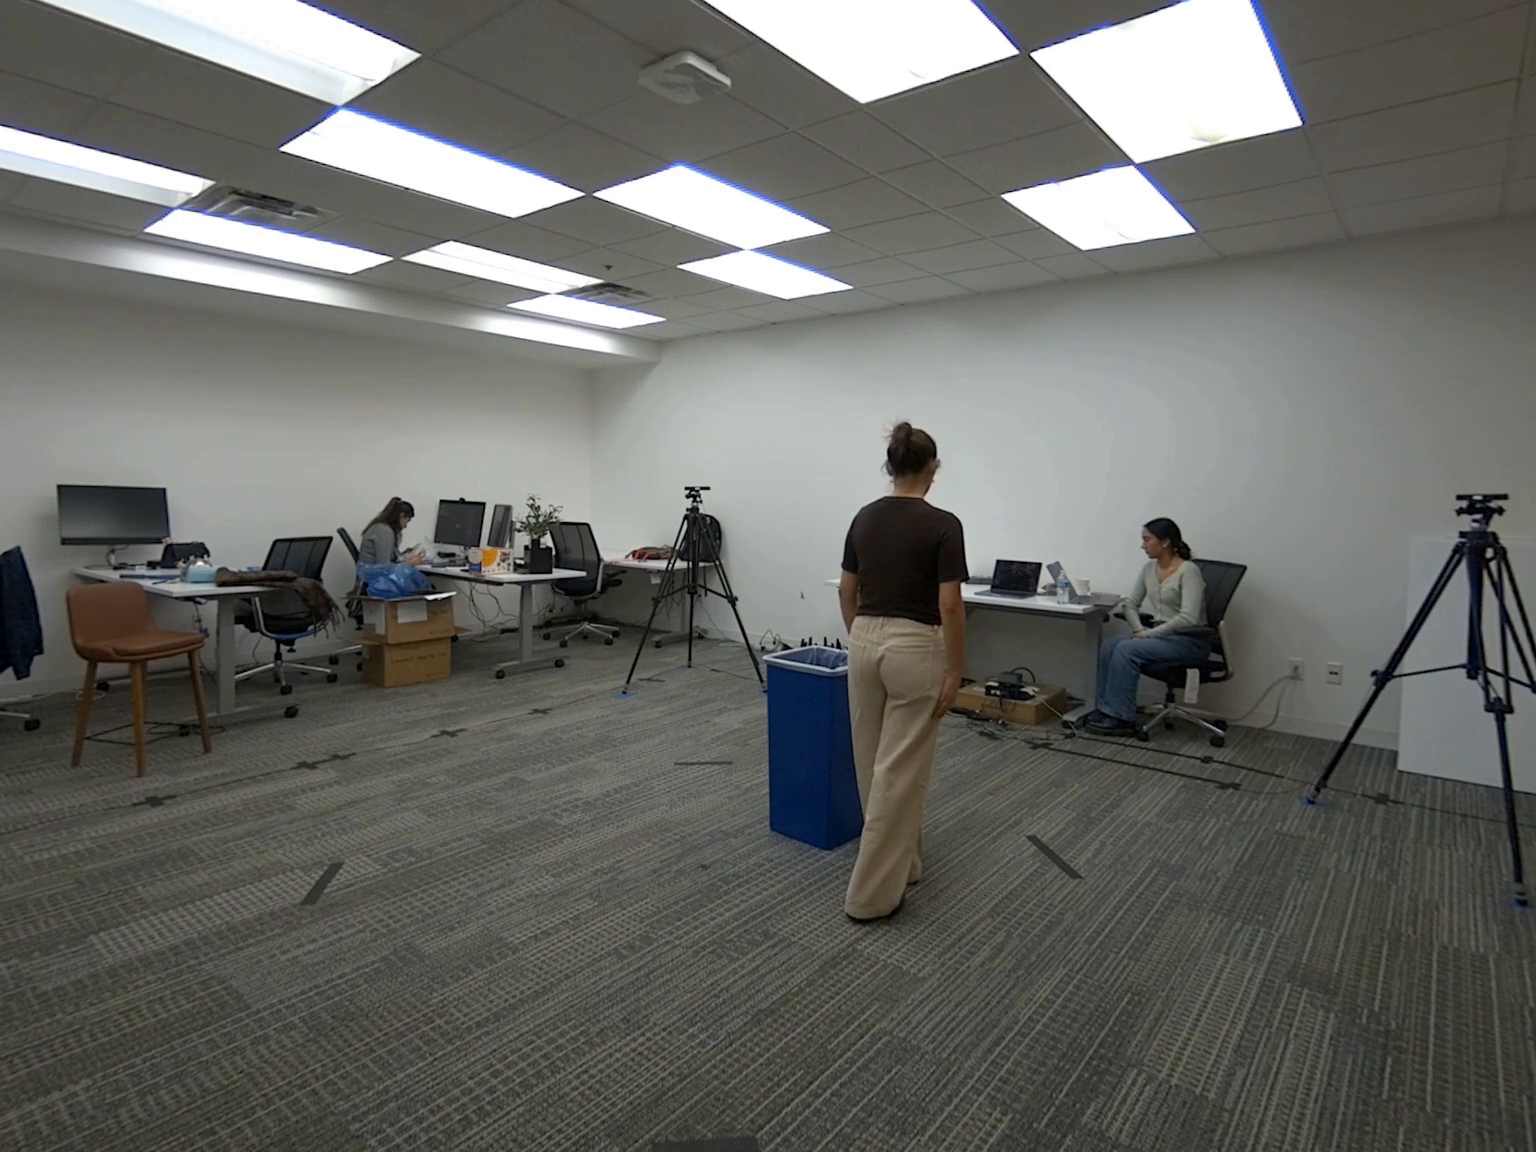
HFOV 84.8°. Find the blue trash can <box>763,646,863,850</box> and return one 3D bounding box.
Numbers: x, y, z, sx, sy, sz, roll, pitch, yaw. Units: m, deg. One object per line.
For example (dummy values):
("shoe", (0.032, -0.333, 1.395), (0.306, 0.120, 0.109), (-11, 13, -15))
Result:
("blue trash can", (0.201, 0.679, 3.463), (0.387, 0.711, 0.367), (5, 5, 41))
